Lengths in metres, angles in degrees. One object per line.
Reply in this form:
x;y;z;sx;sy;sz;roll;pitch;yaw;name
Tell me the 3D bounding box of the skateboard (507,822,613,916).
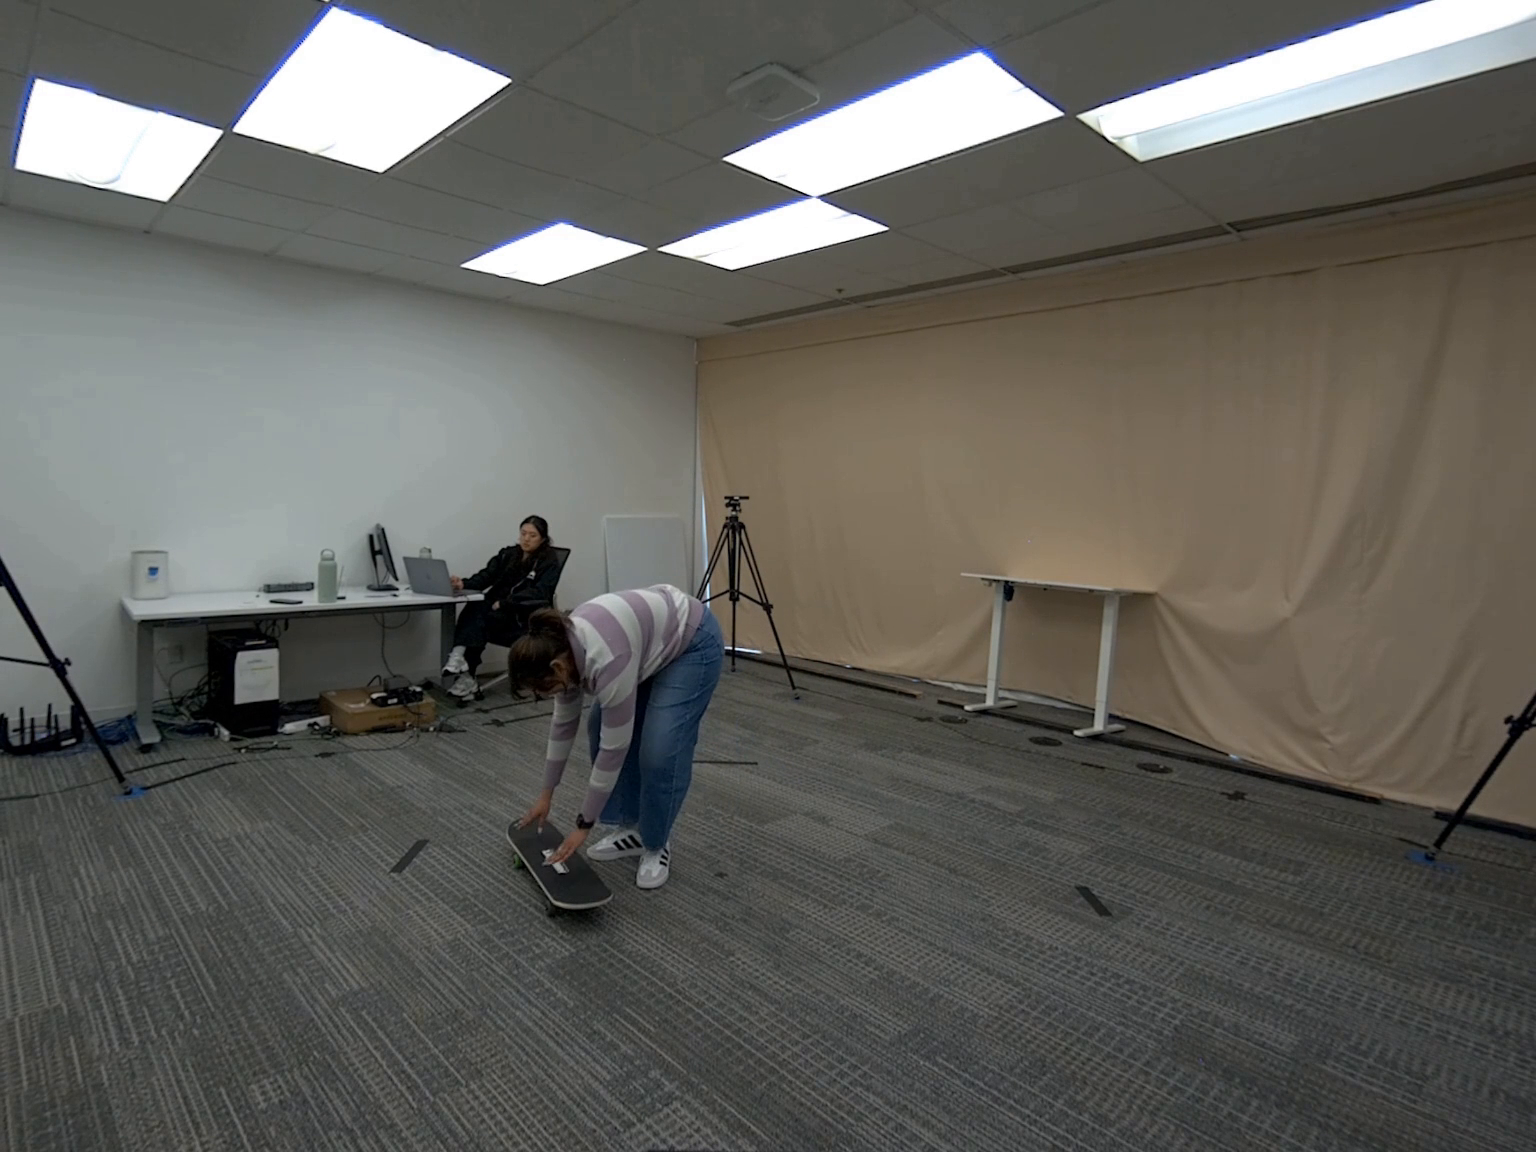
-0.763;1.046;2.984;0.189;0.110;0.804;-1;6;-31;skateboard
